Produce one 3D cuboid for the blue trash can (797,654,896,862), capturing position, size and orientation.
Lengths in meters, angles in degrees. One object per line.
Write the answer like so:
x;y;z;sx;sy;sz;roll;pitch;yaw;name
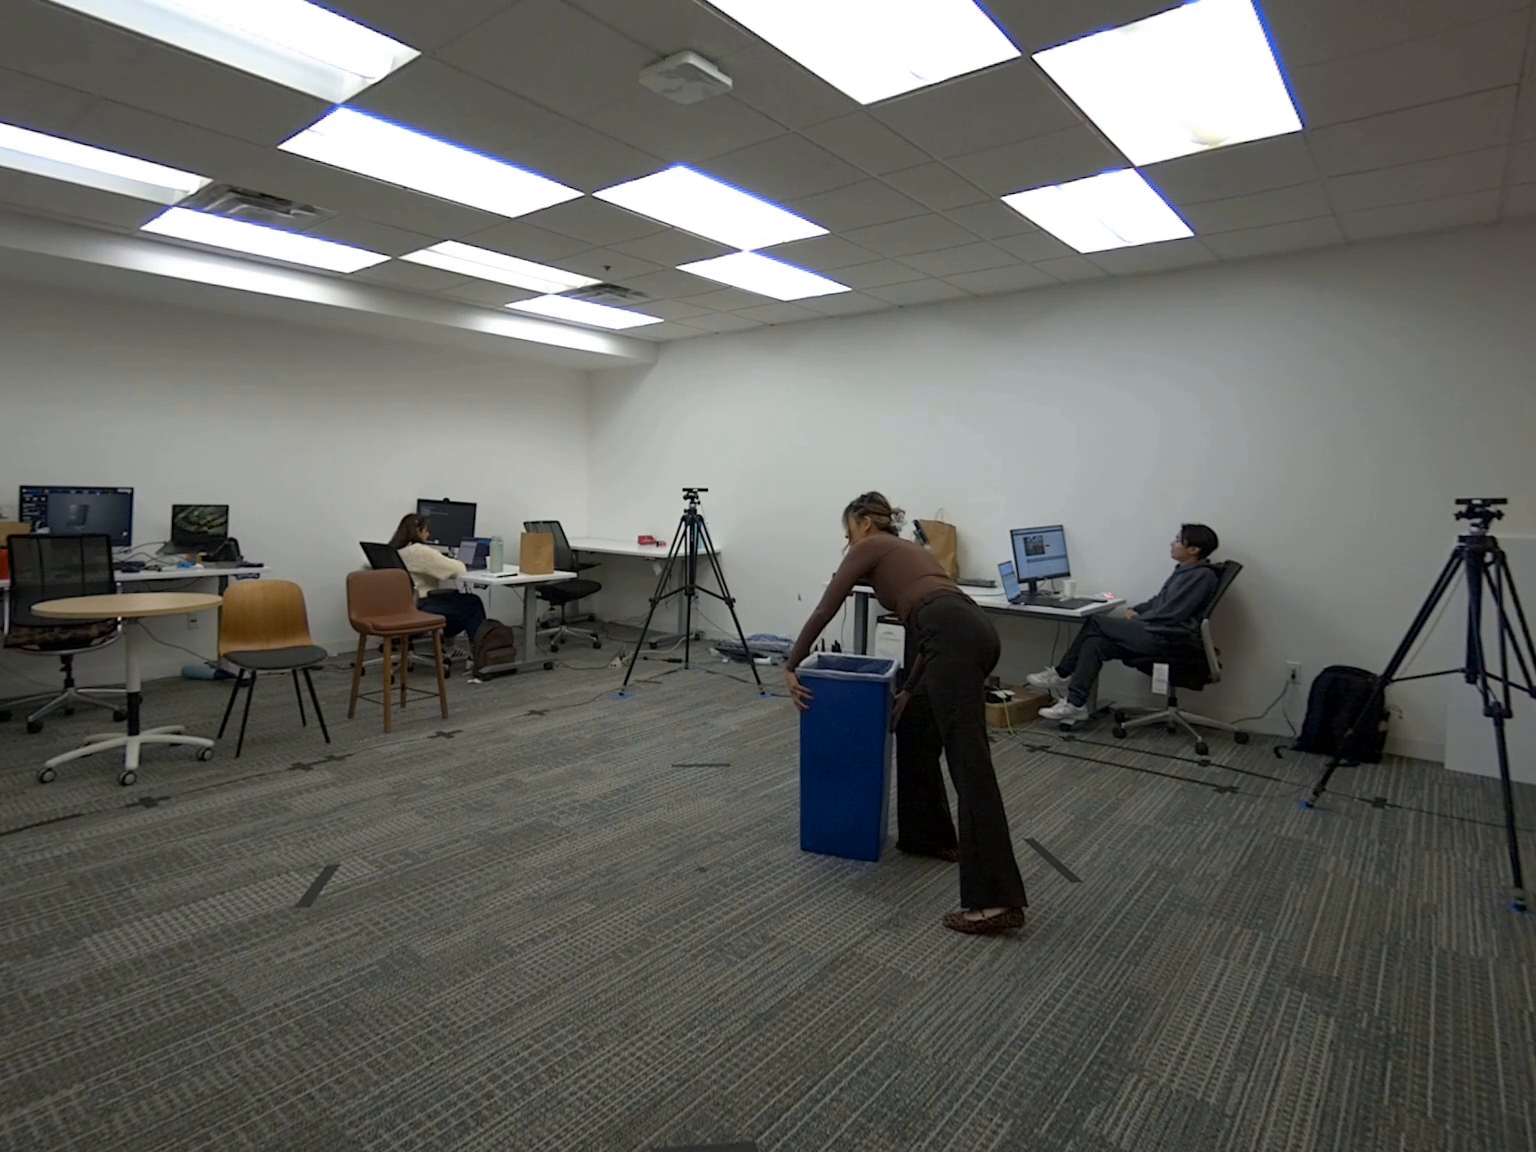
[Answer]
0.302;0.694;3.370;0.381;0.712;0.372;3;3;17;blue trash can
